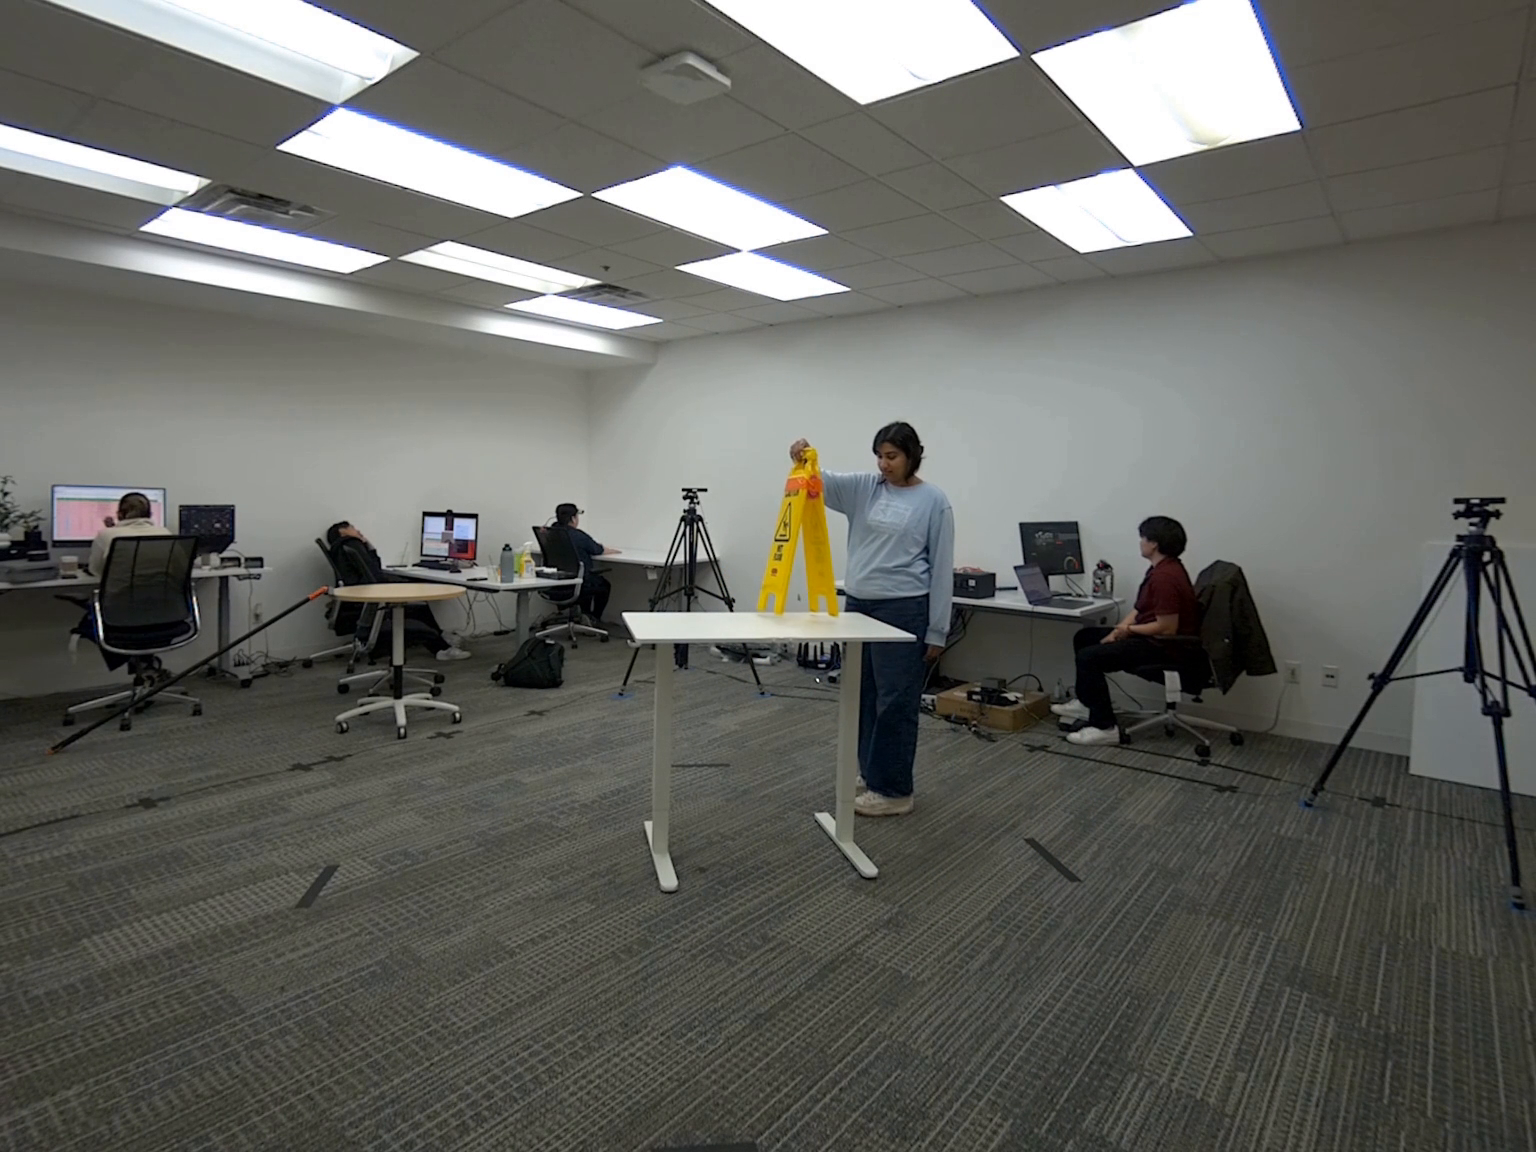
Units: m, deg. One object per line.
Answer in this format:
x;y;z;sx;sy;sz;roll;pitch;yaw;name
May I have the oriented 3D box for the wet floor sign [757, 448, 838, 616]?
0.122;-0.182;3.370;0.285;0.646;0.287;1;0;-17;wet floor sign
